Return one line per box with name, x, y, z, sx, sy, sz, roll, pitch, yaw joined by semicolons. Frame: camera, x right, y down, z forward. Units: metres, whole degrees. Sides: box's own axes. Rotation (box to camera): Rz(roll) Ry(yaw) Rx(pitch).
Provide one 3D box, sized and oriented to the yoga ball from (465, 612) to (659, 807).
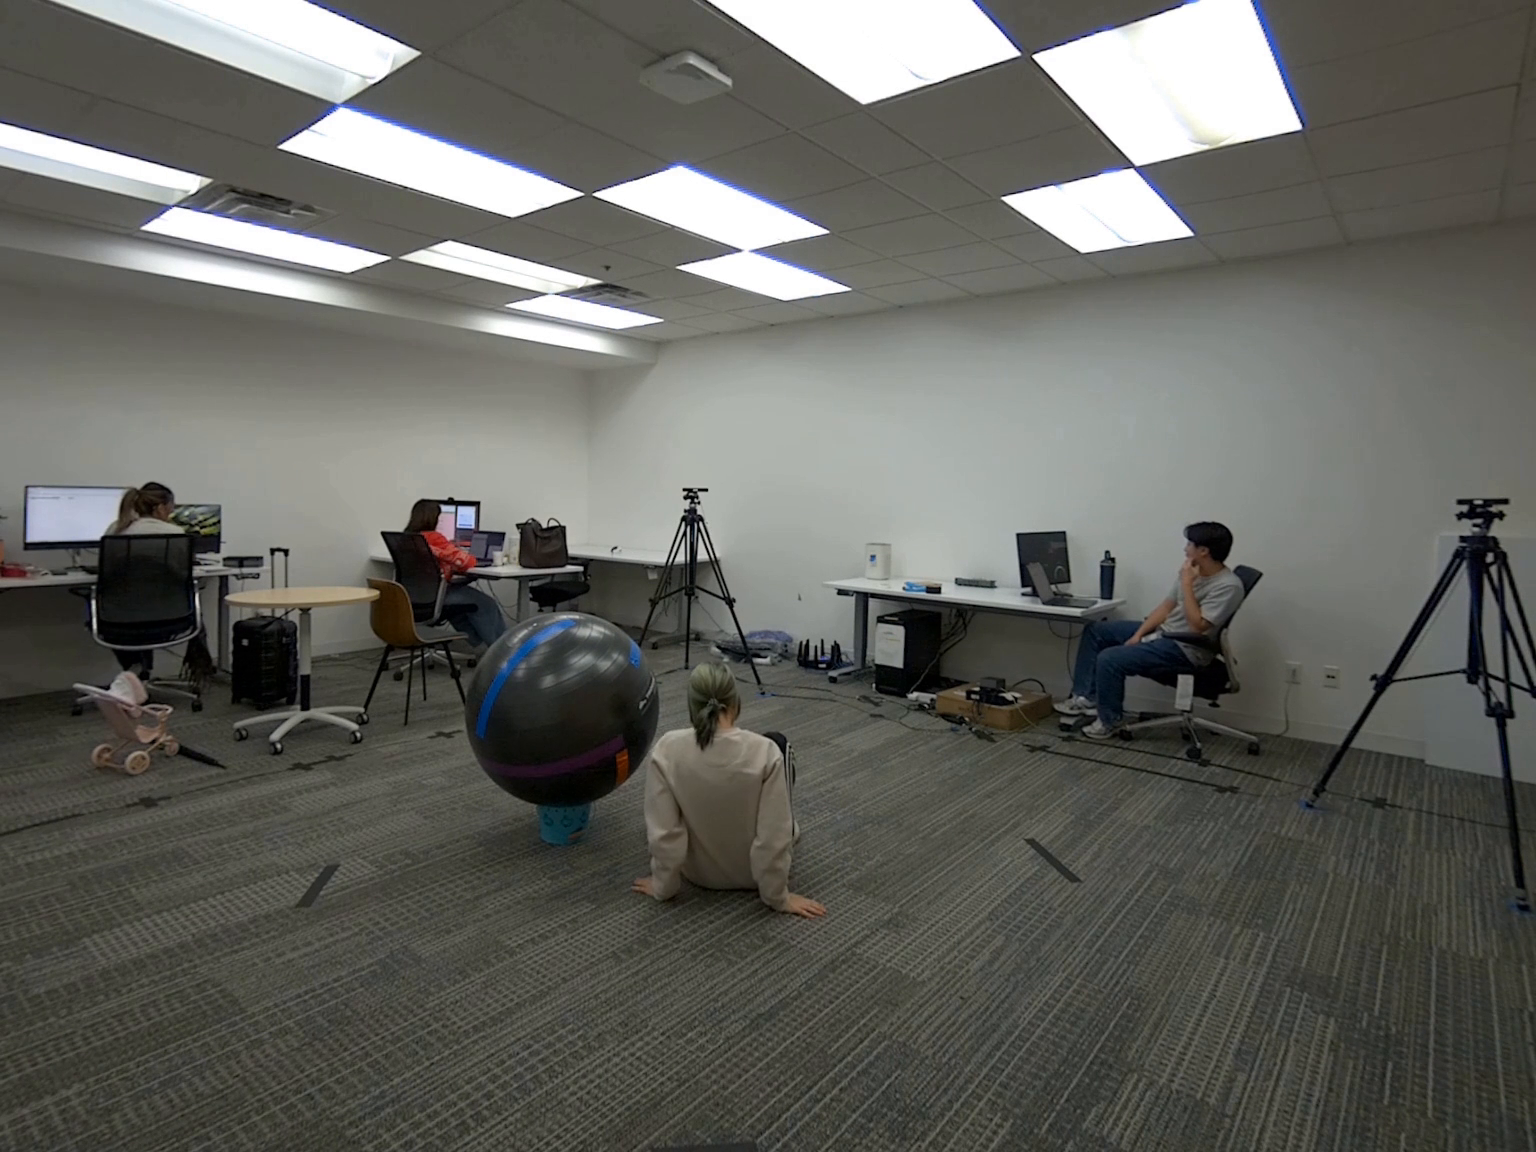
yoga ball;-0.829;0.523;3.376;0.757;0.756;0.761;1;4;-2
